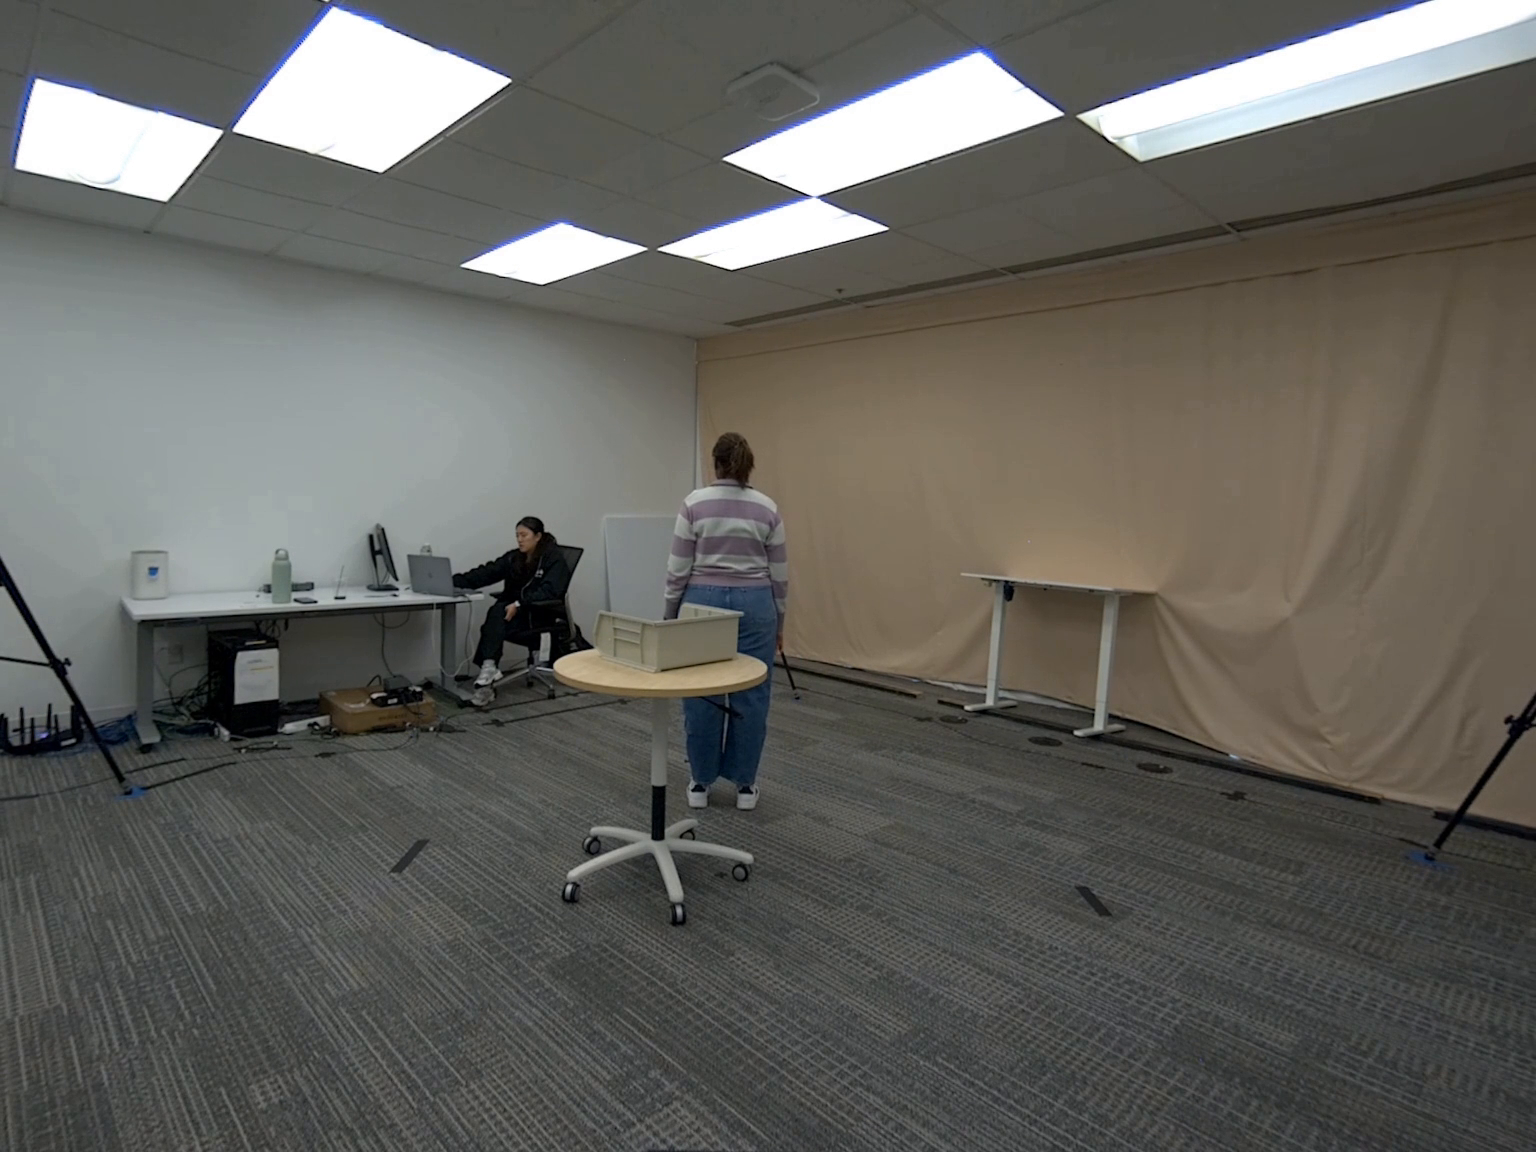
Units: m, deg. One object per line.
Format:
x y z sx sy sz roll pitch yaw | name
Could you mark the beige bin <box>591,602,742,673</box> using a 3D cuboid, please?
-0.385 0.224 3.145 0.412 0.188 0.387 -3 8 -44 | beige bin
